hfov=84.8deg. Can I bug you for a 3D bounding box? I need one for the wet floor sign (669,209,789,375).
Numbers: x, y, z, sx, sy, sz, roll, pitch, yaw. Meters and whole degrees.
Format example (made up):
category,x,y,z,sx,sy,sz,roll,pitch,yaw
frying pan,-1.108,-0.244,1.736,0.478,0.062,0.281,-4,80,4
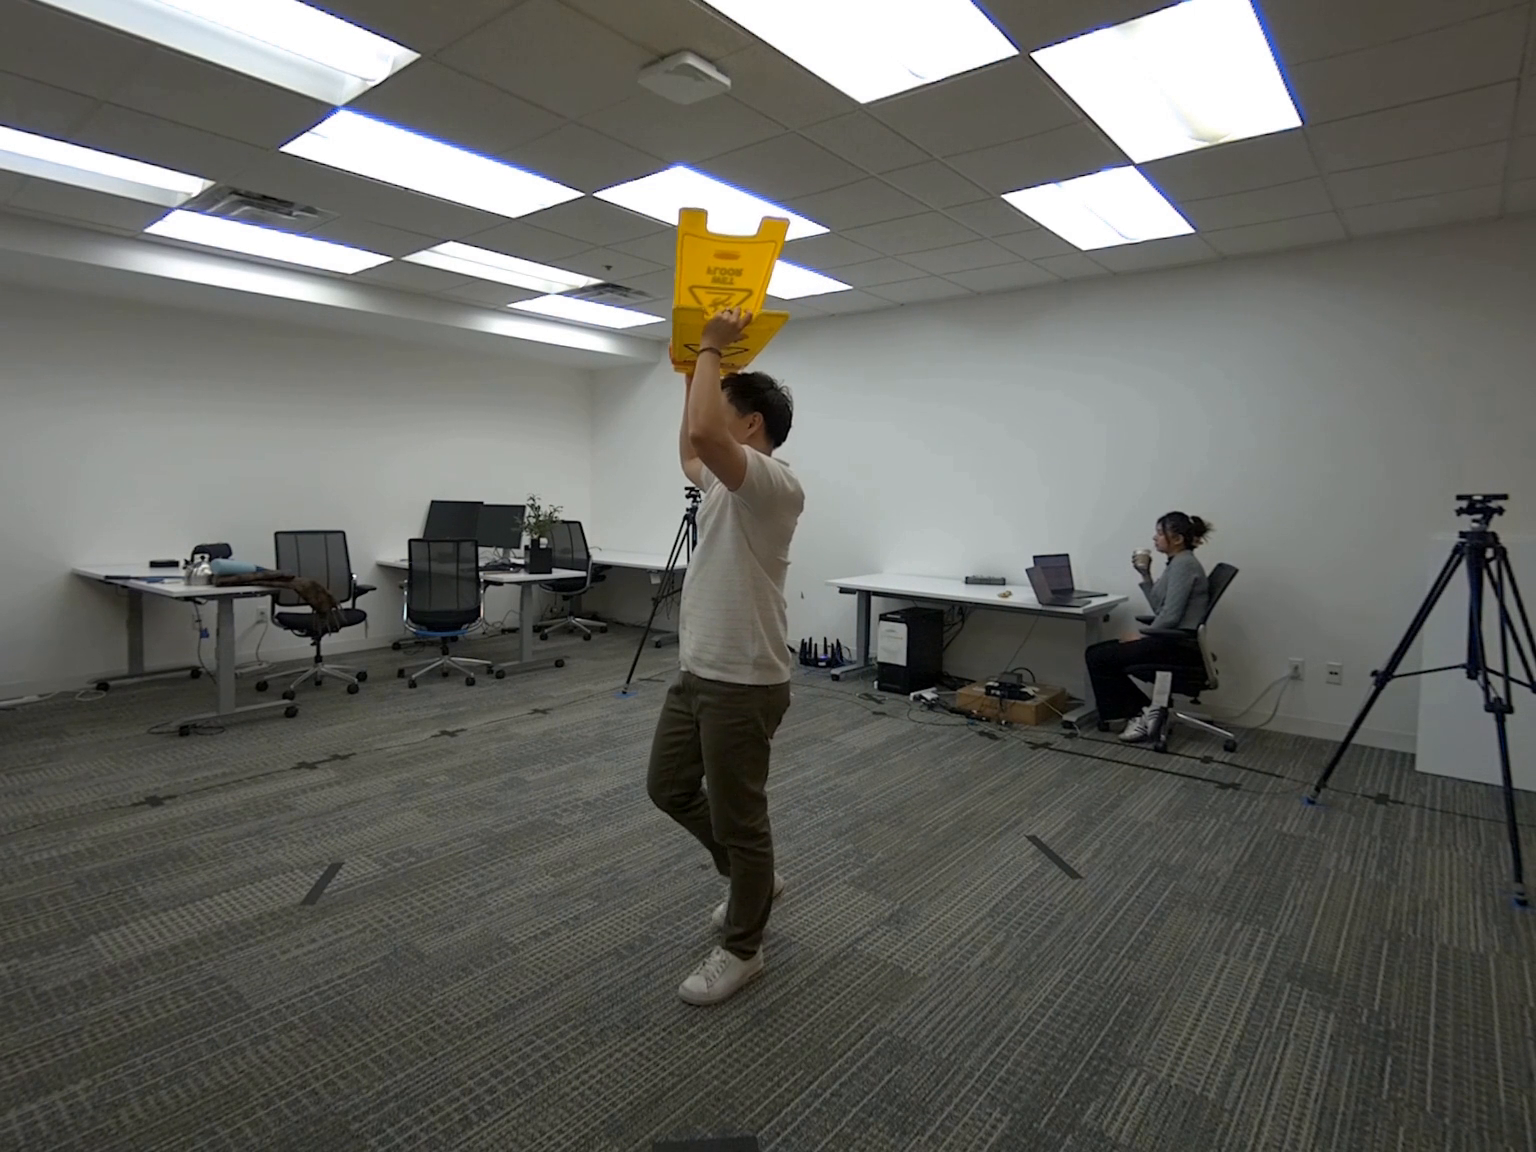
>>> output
category,x,y,z,sx,sy,sz,roll,pitch,yaw
wet floor sign,-0.153,-0.698,2.327,0.280,0.293,0.644,2,-11,-10
